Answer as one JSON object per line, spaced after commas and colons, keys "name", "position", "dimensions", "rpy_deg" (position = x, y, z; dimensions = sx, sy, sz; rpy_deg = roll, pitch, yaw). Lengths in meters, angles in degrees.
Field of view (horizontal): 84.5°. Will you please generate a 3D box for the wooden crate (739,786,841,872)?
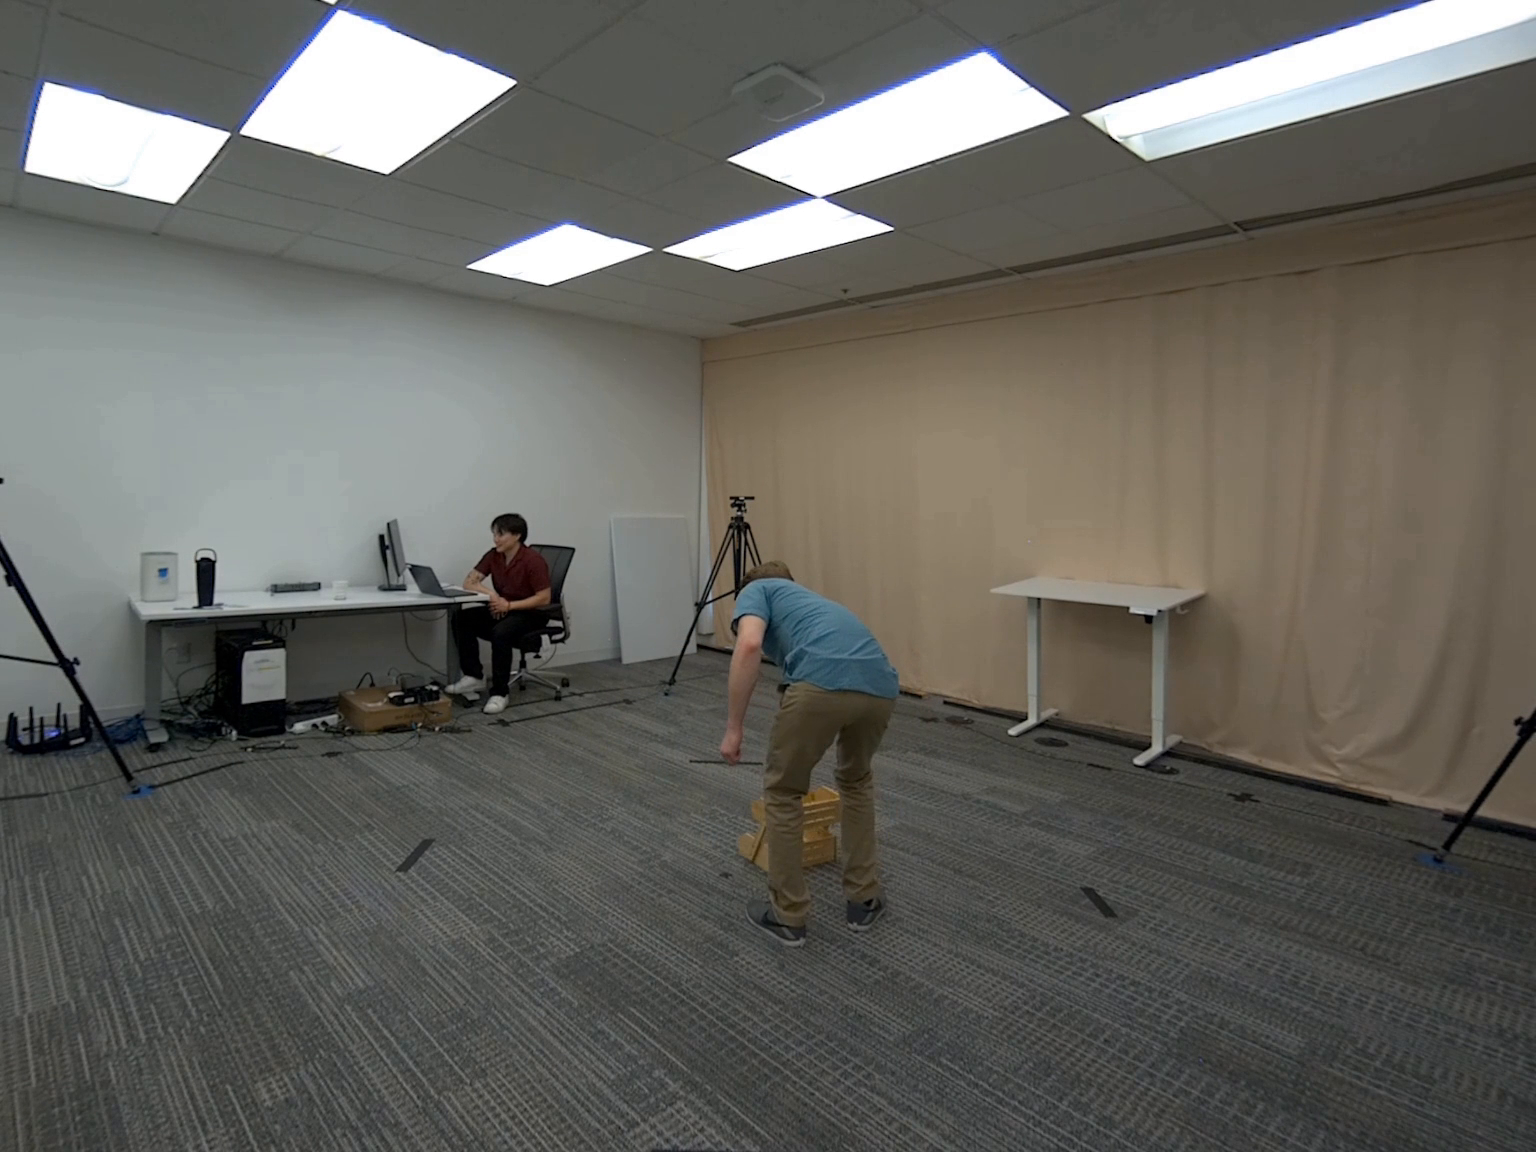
{"name": "wooden crate", "position": [0.084, 0.962, 3.268], "dimensions": [0.318, 0.272, 0.309], "rpy_deg": [-1, 5, -32]}
